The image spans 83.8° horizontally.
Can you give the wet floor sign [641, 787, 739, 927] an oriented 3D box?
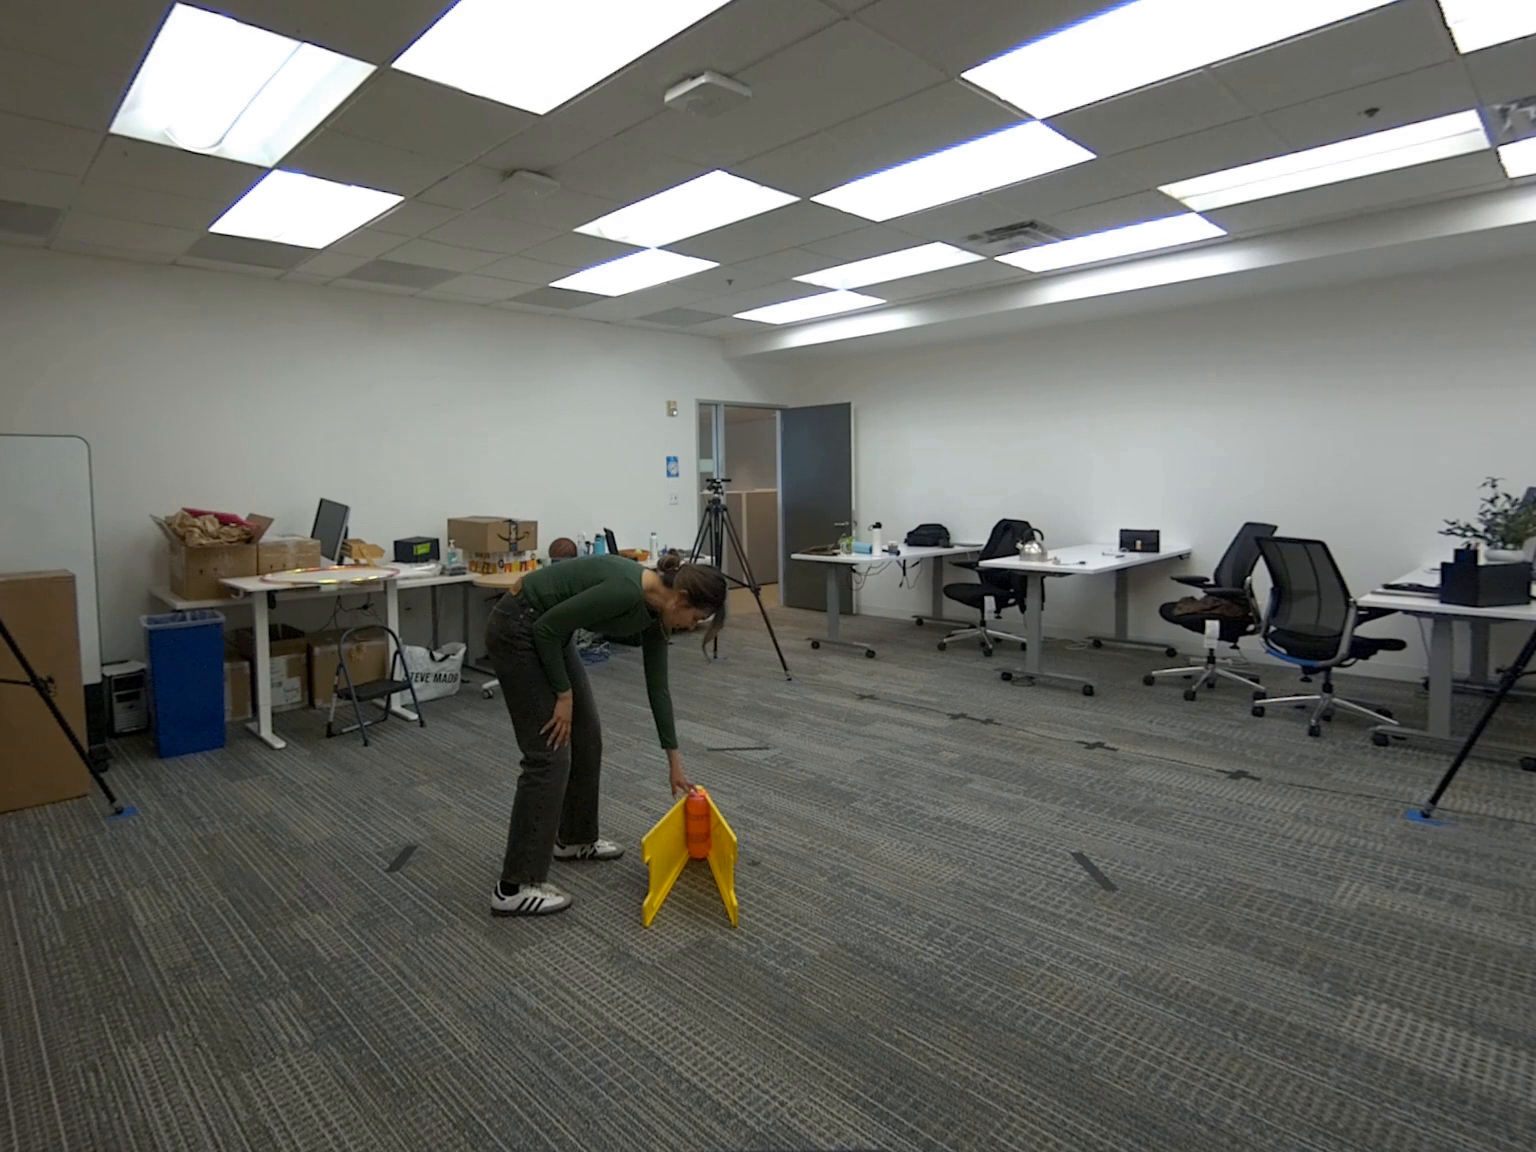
[{"bbox_3d":[-0.256,0.926,2.988,0.289,0.281,0.648,-1,4,-2],"label":"wet floor sign"}]
